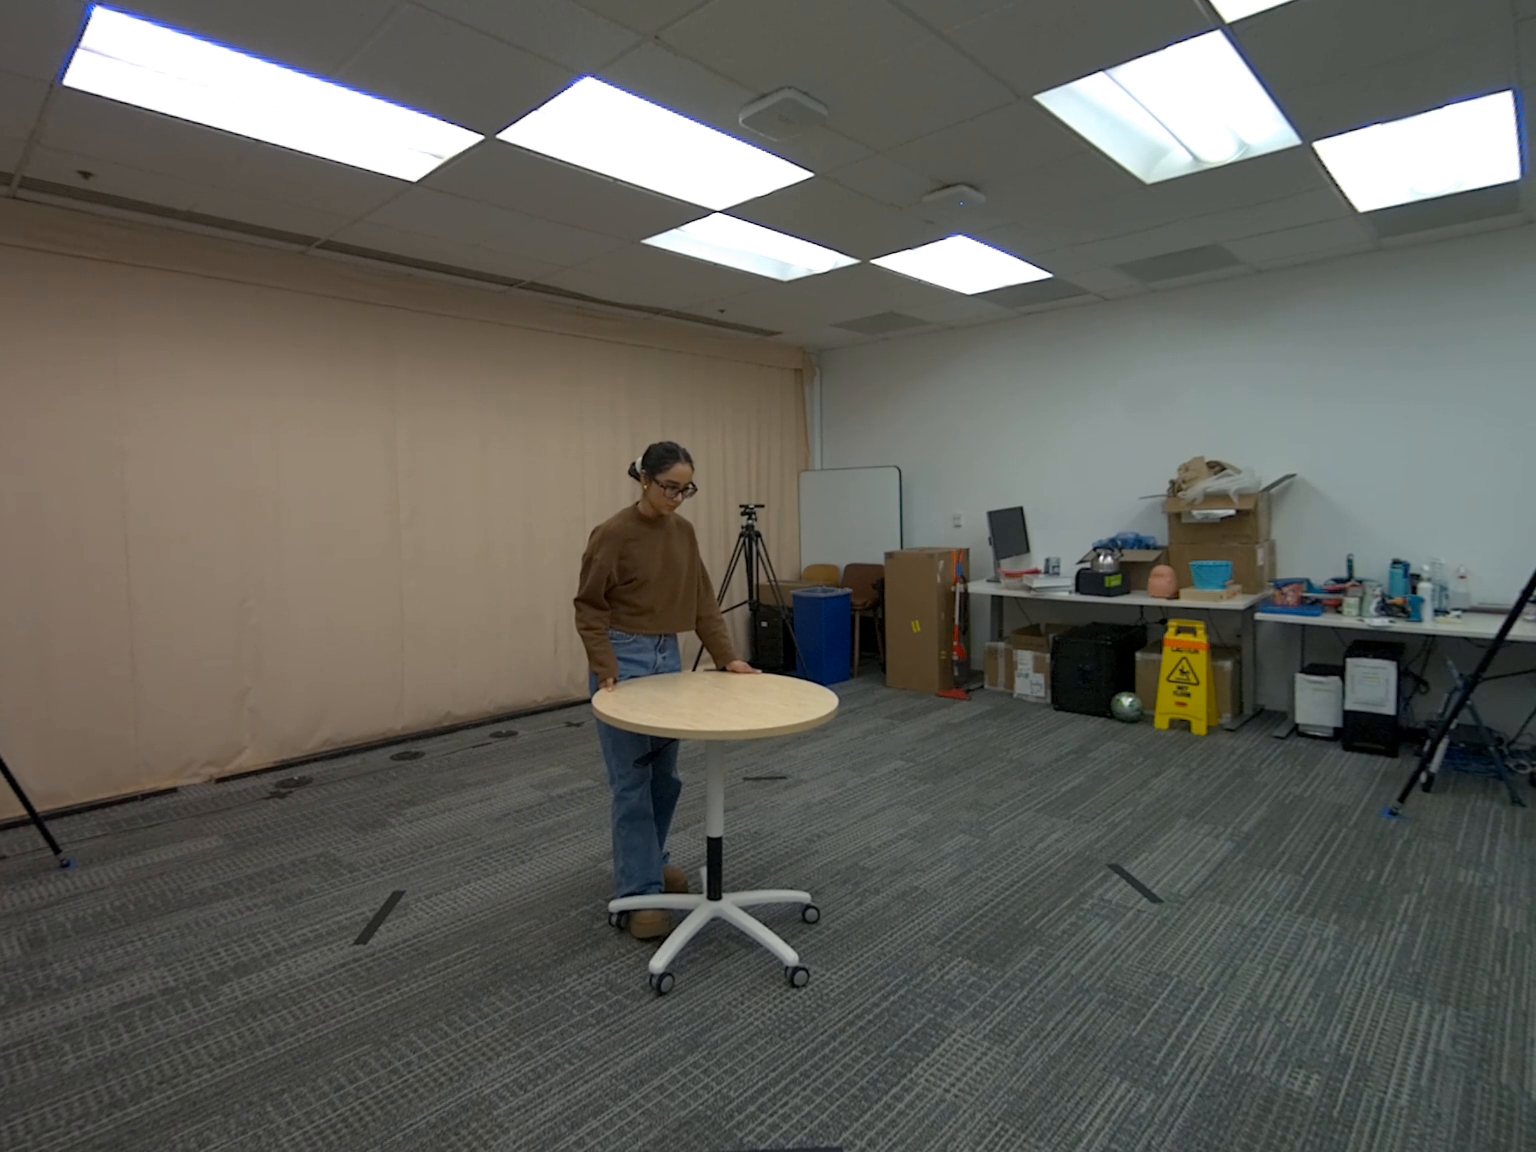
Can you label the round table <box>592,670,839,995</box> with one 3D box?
[{"bbox_3d":[-0.155,0.775,2.649,0.763,0.792,0.767,0,4,-2],"label":"round table"}]
